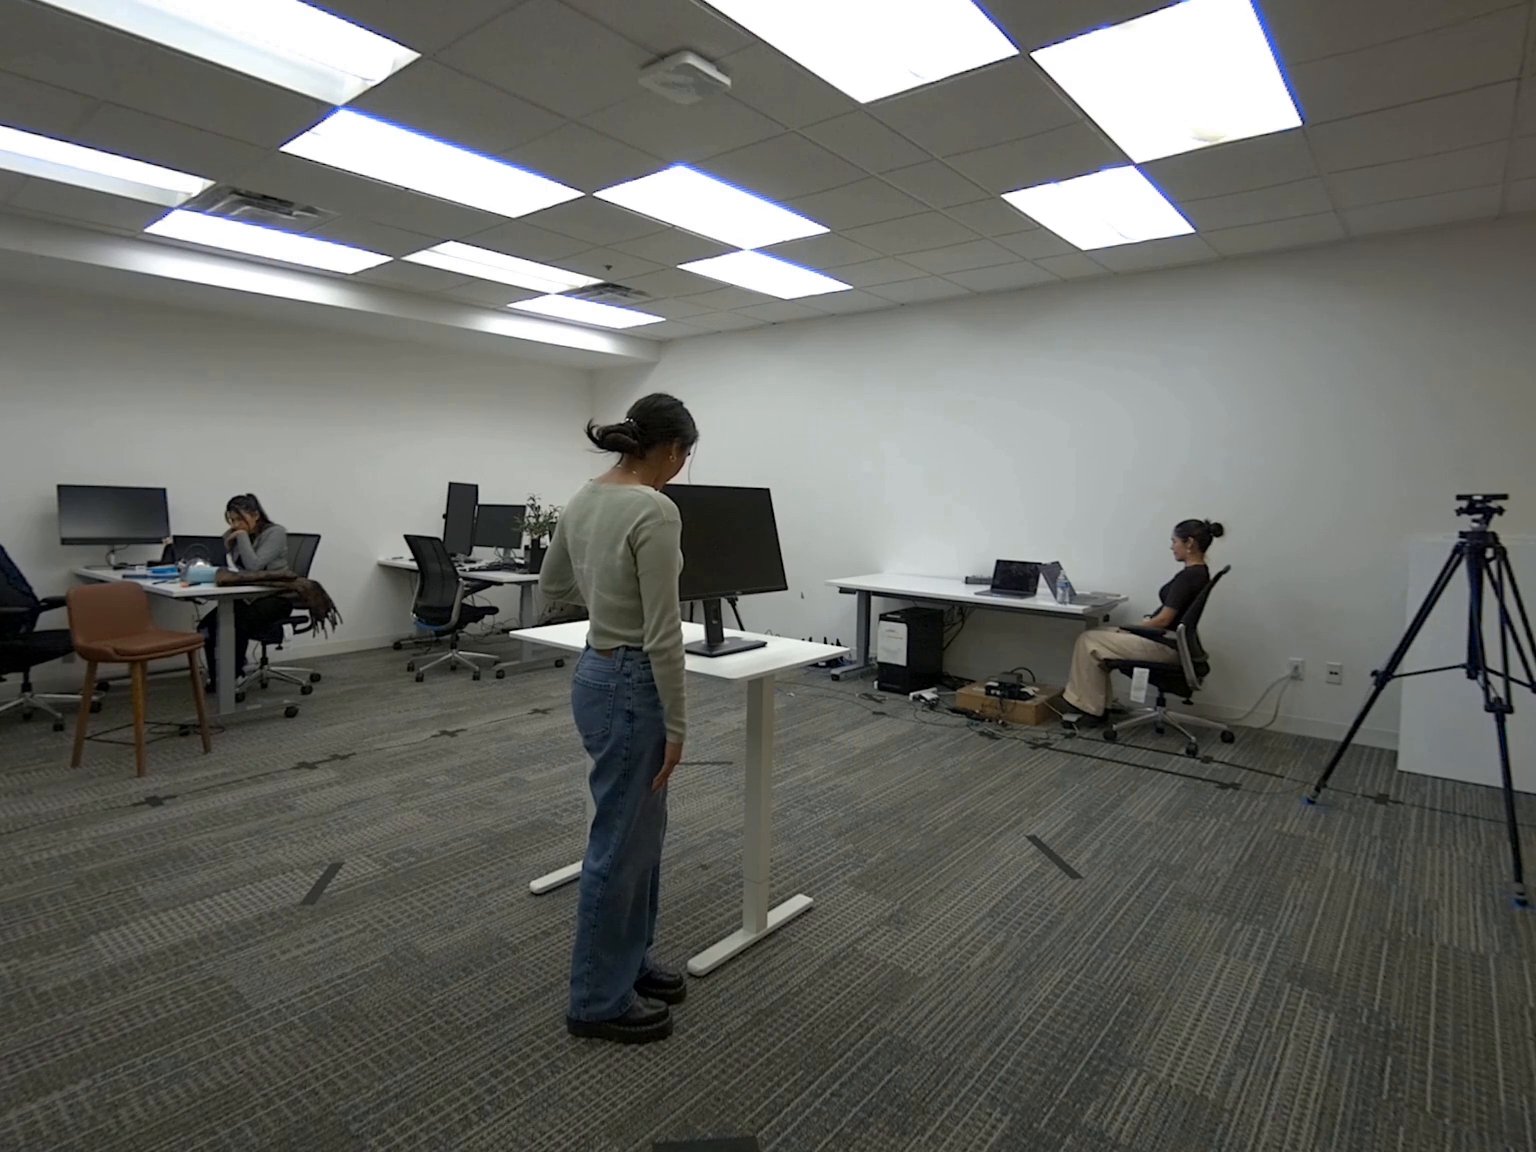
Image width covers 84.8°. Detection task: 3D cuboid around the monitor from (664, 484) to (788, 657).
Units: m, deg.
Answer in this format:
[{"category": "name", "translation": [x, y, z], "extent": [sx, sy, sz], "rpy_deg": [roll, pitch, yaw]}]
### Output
[{"category": "monitor", "translation": [-0.166, -0.023, 2.699], "extent": [0.193, 0.522, 0.523], "rpy_deg": [0, 2, 39]}]
